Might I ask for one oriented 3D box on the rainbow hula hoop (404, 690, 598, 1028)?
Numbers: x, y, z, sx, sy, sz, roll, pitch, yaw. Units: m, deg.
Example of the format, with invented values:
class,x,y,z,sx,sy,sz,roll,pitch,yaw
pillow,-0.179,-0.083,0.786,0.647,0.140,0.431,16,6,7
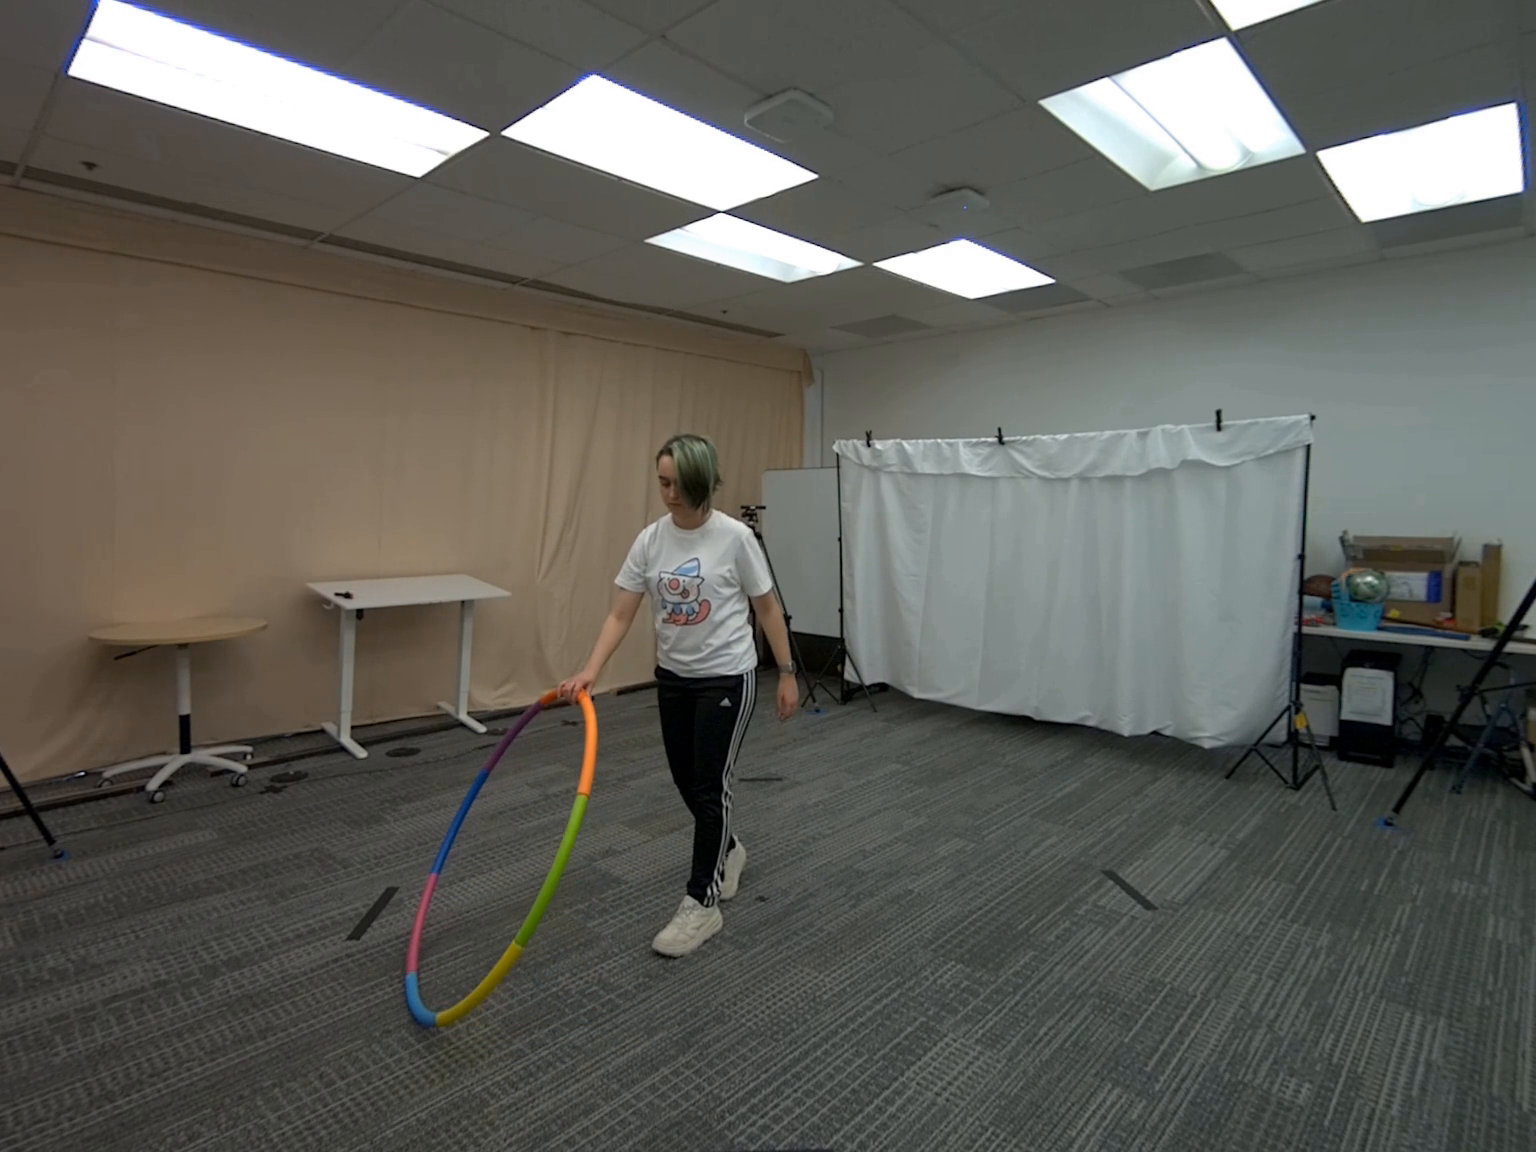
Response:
class,x,y,z,sx,sy,sz,roll,pitch,yaw
rainbow hula hoop,-0.784,0.772,2.475,0.034,0.979,1.006,34,-12,-26
